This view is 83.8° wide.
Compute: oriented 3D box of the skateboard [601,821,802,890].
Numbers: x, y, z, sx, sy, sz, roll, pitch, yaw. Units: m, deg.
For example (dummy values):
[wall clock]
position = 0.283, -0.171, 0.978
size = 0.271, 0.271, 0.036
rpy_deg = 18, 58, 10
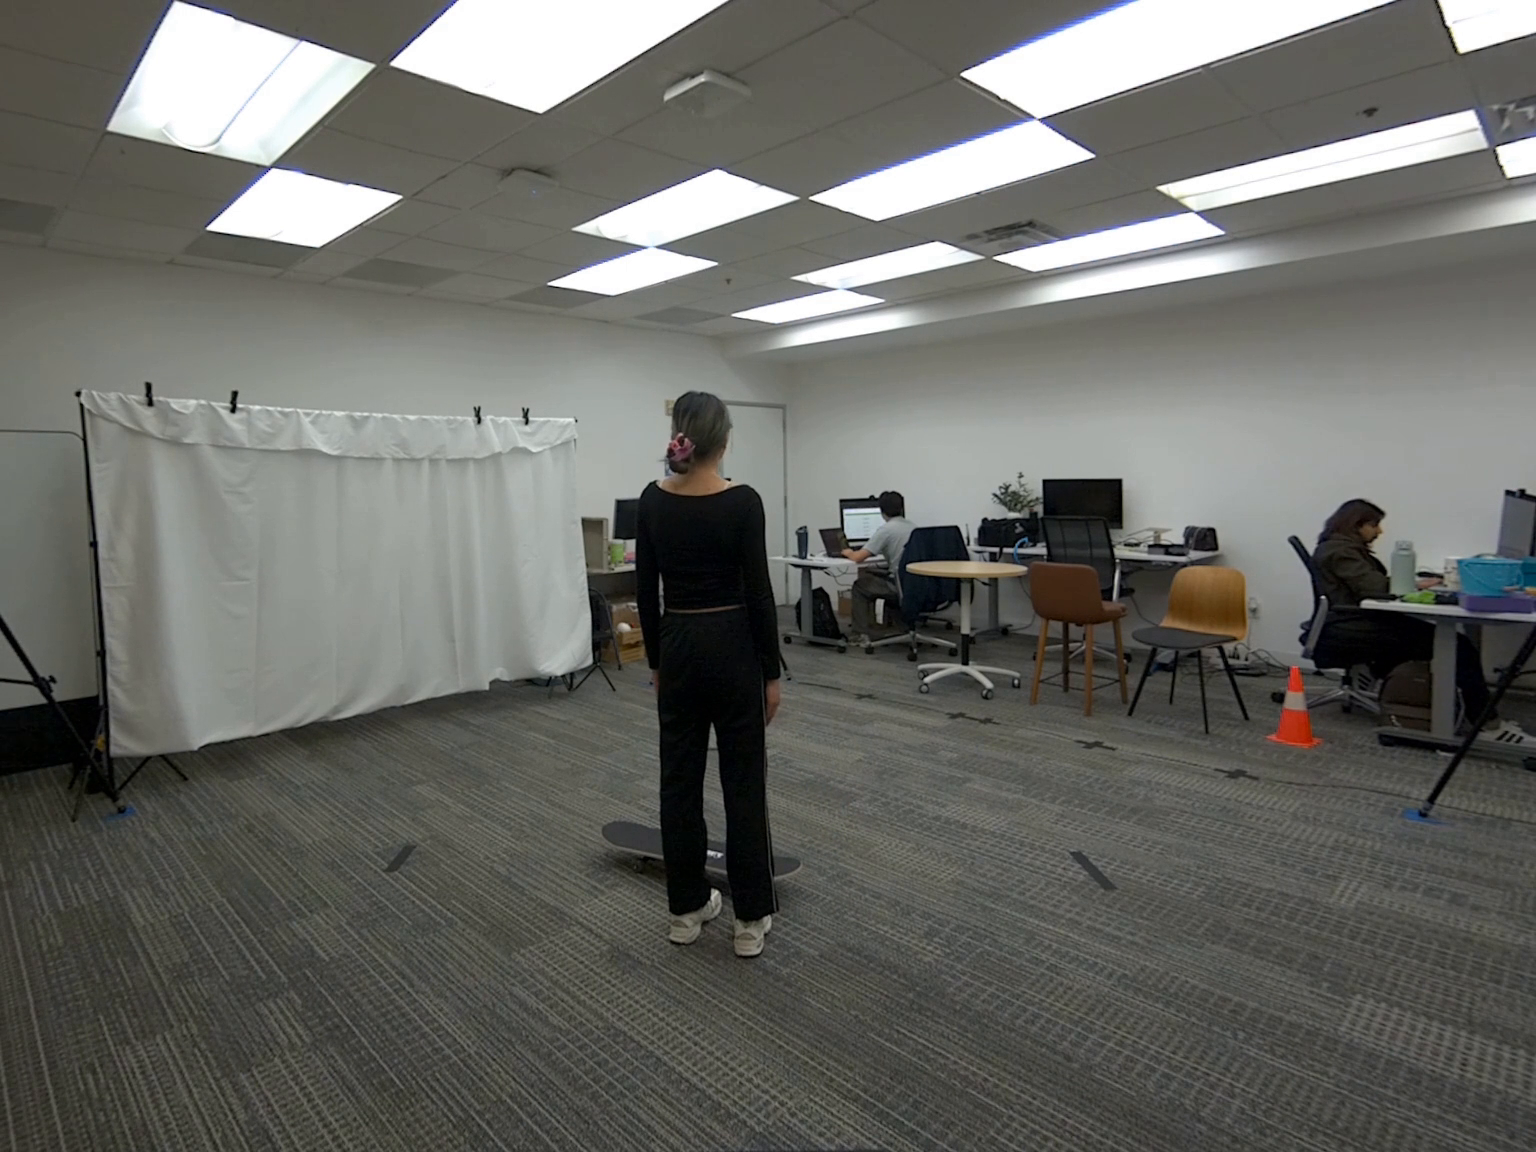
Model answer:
[skateboard]
position = -0.245, 0.998, 3.013
size = 0.805, 0.110, 0.190
rpy_deg = 2, 7, 28
